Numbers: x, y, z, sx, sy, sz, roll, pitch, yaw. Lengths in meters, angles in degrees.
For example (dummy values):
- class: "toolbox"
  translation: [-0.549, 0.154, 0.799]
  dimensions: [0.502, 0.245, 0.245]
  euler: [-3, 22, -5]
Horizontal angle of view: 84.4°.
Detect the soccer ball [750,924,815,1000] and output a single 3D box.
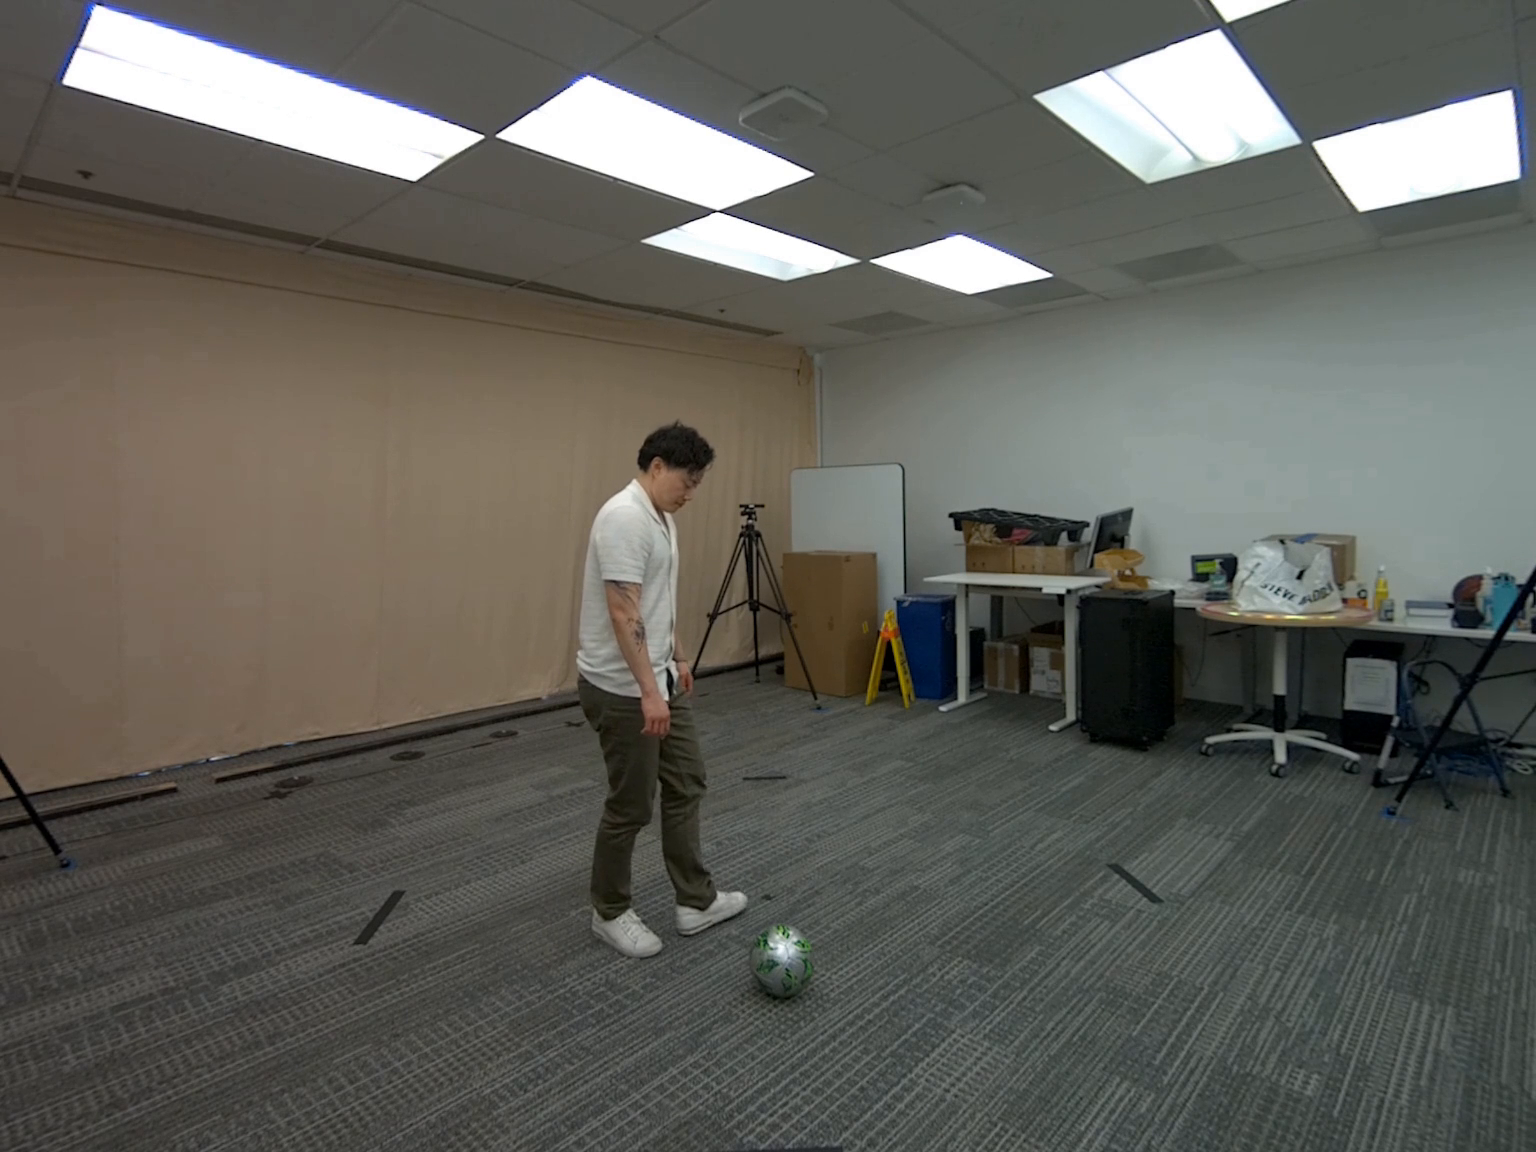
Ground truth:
- class: "soccer ball"
  translation: [0.045, 1.094, 2.401]
  dimensions: [0.187, 0.187, 0.188]
  euler: [-1, 4, -2]
